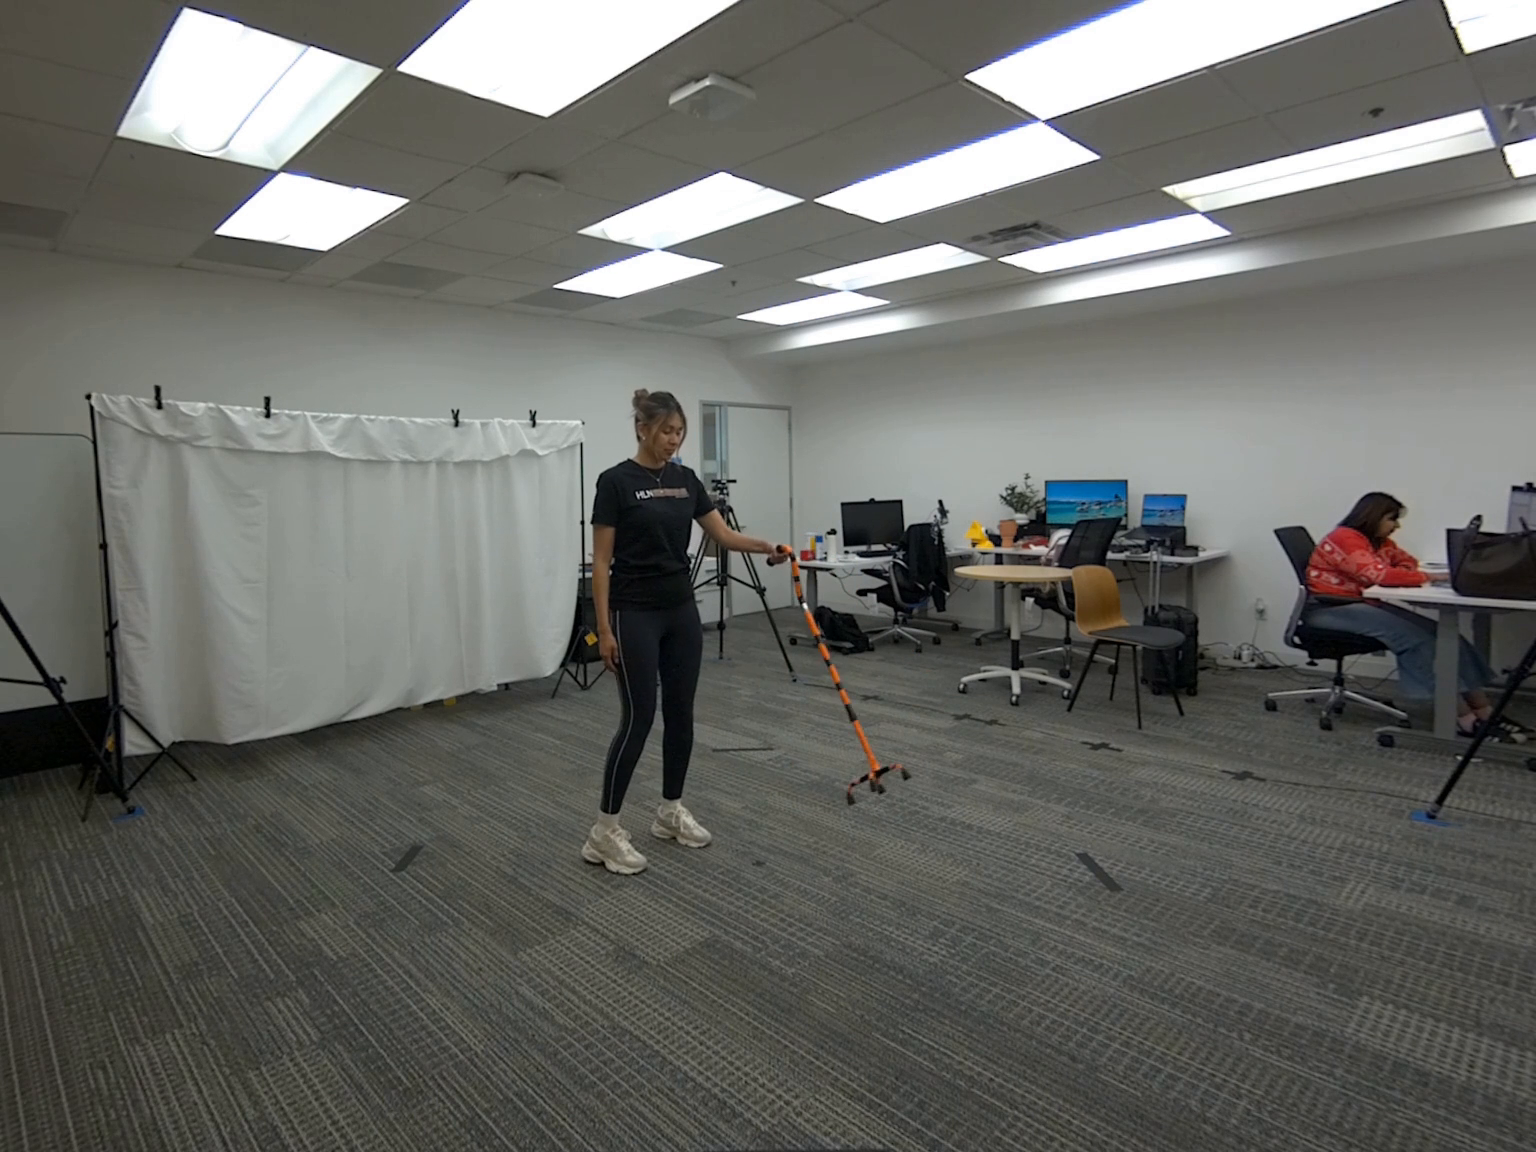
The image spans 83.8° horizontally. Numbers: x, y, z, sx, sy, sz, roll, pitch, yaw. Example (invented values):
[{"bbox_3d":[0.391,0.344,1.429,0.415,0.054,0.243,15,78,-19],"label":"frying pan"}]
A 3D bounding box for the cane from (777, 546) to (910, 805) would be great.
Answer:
[{"bbox_3d":[0.194,0.298,2.918,0.149,0.932,0.205,-10,-25,-25],"label":"cane"}]
